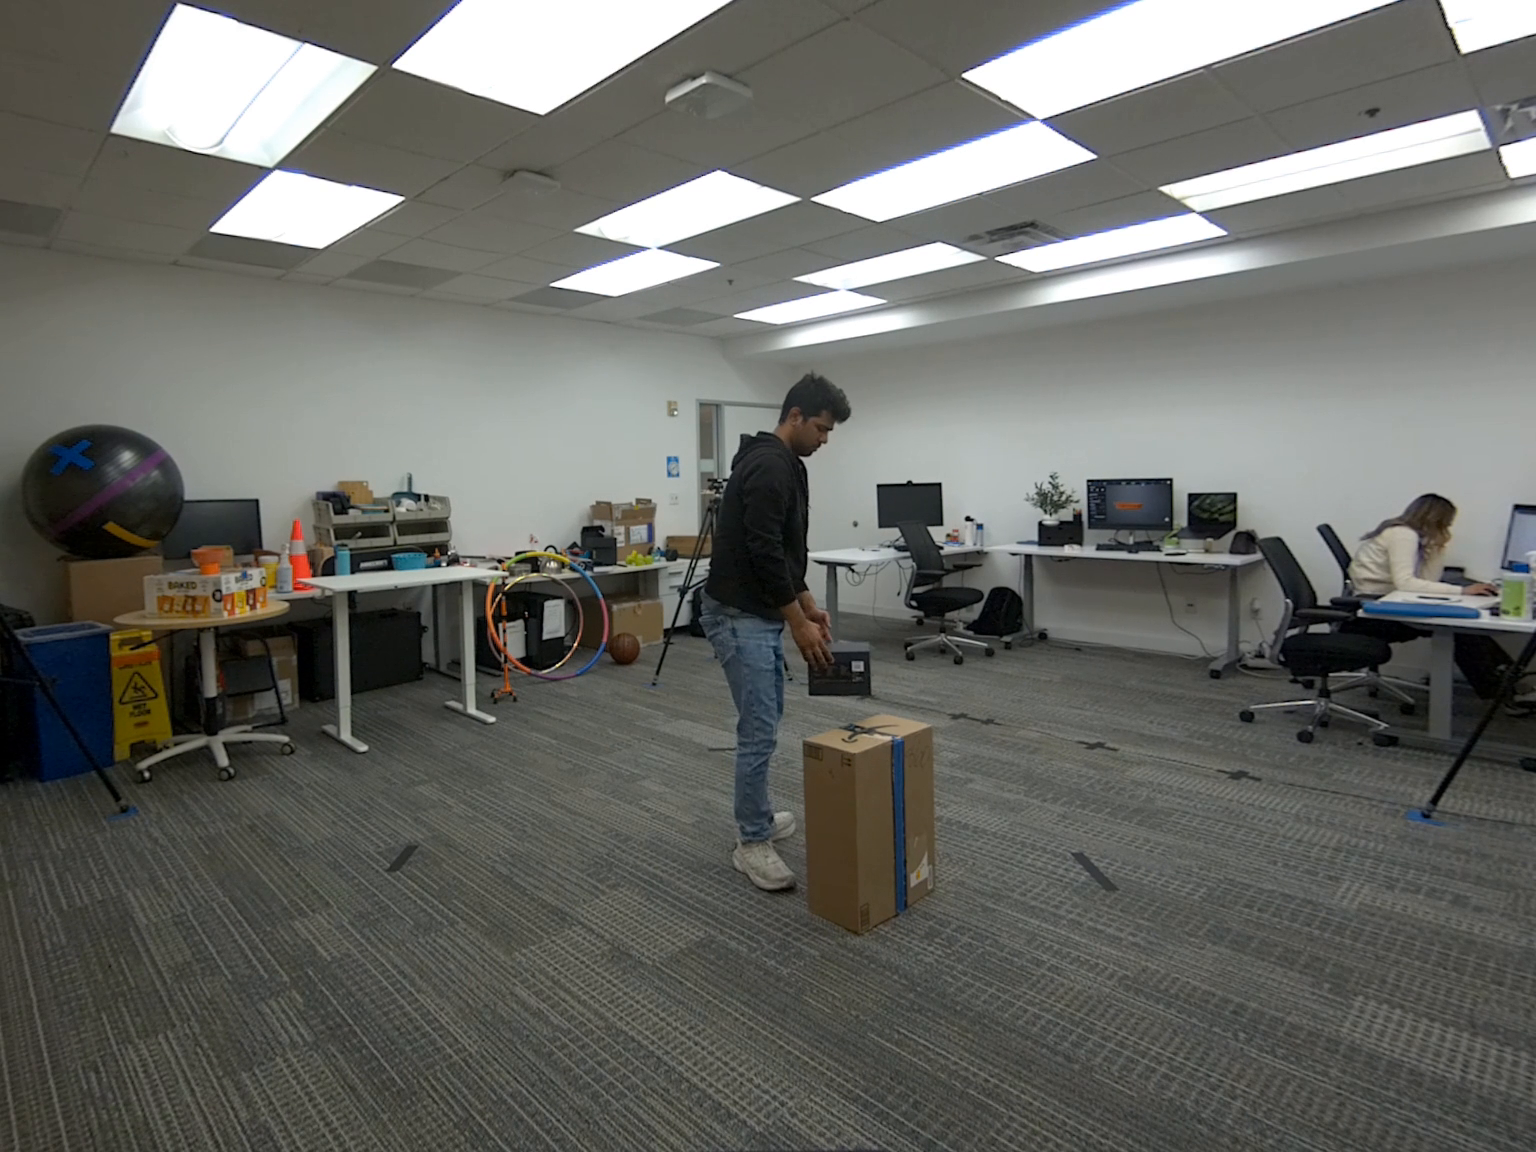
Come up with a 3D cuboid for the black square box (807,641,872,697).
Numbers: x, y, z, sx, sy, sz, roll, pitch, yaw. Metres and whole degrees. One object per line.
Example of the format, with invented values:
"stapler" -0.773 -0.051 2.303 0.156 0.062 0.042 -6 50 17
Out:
"black square box" 0.259 0.336 3.060 0.219 0.156 0.226 -2 3 7
